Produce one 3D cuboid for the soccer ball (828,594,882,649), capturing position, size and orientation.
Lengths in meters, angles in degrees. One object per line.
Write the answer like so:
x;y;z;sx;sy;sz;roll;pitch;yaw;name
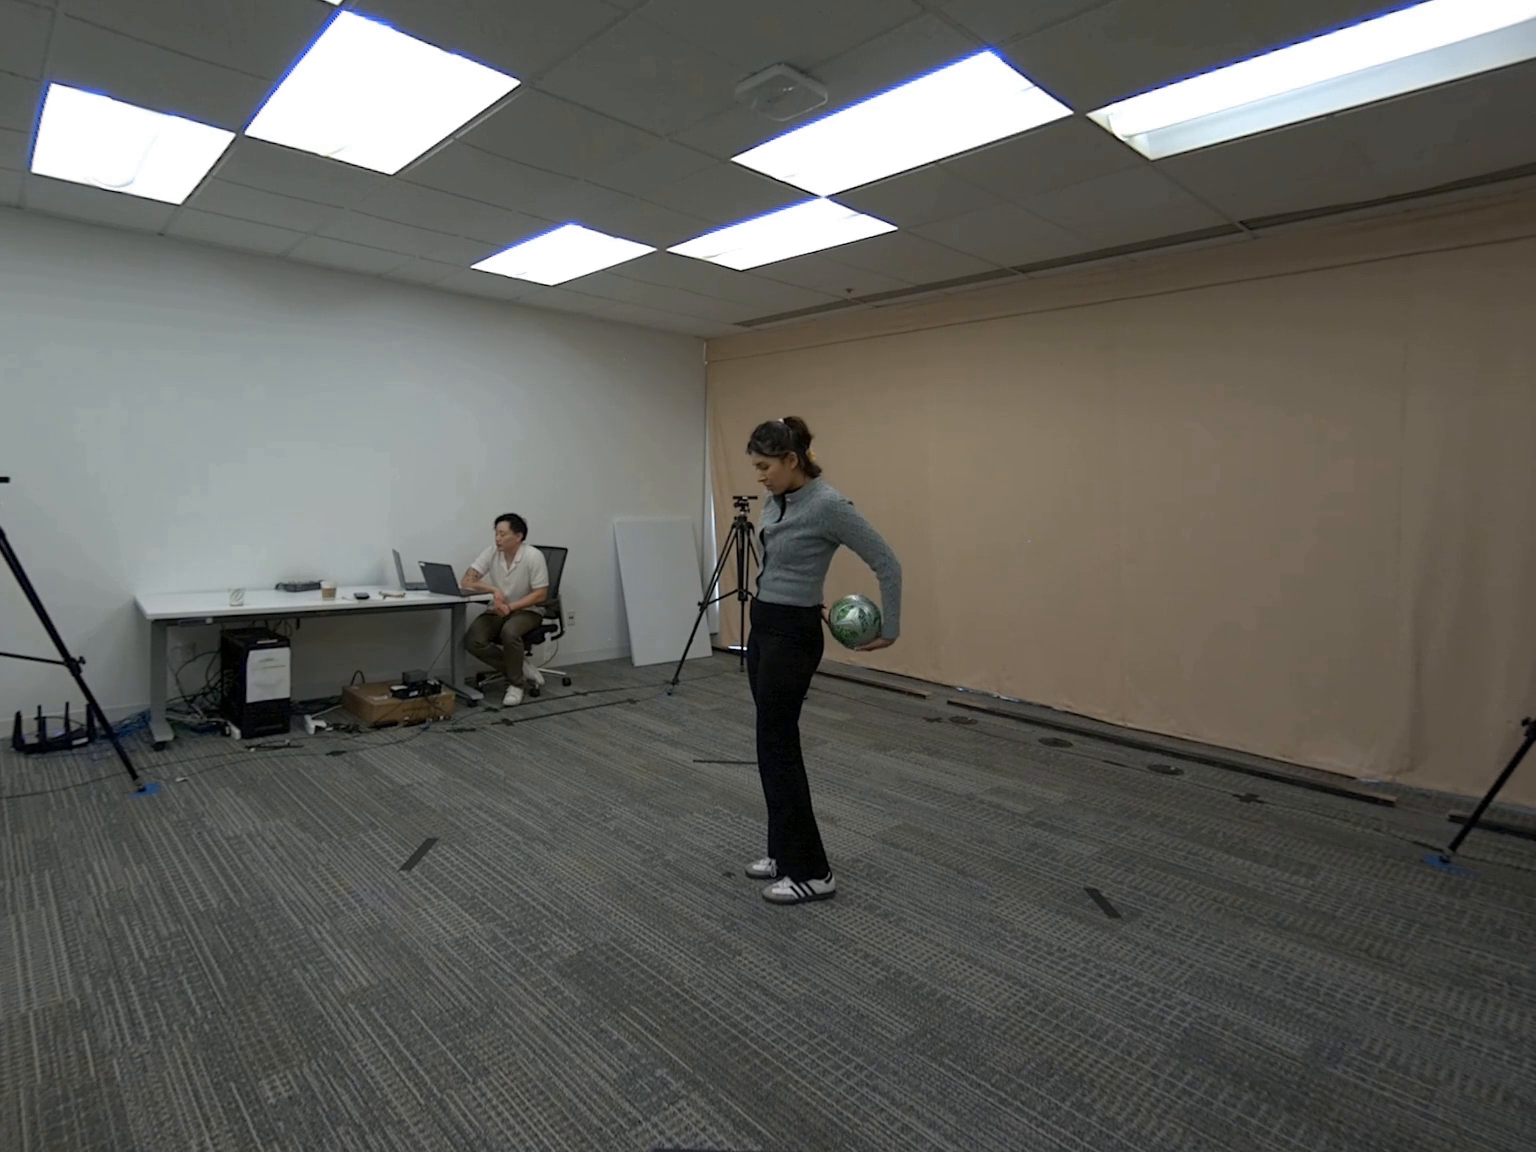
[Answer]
0.283;0.155;2.924;0.187;0.187;0.188;1;4;-1;soccer ball
